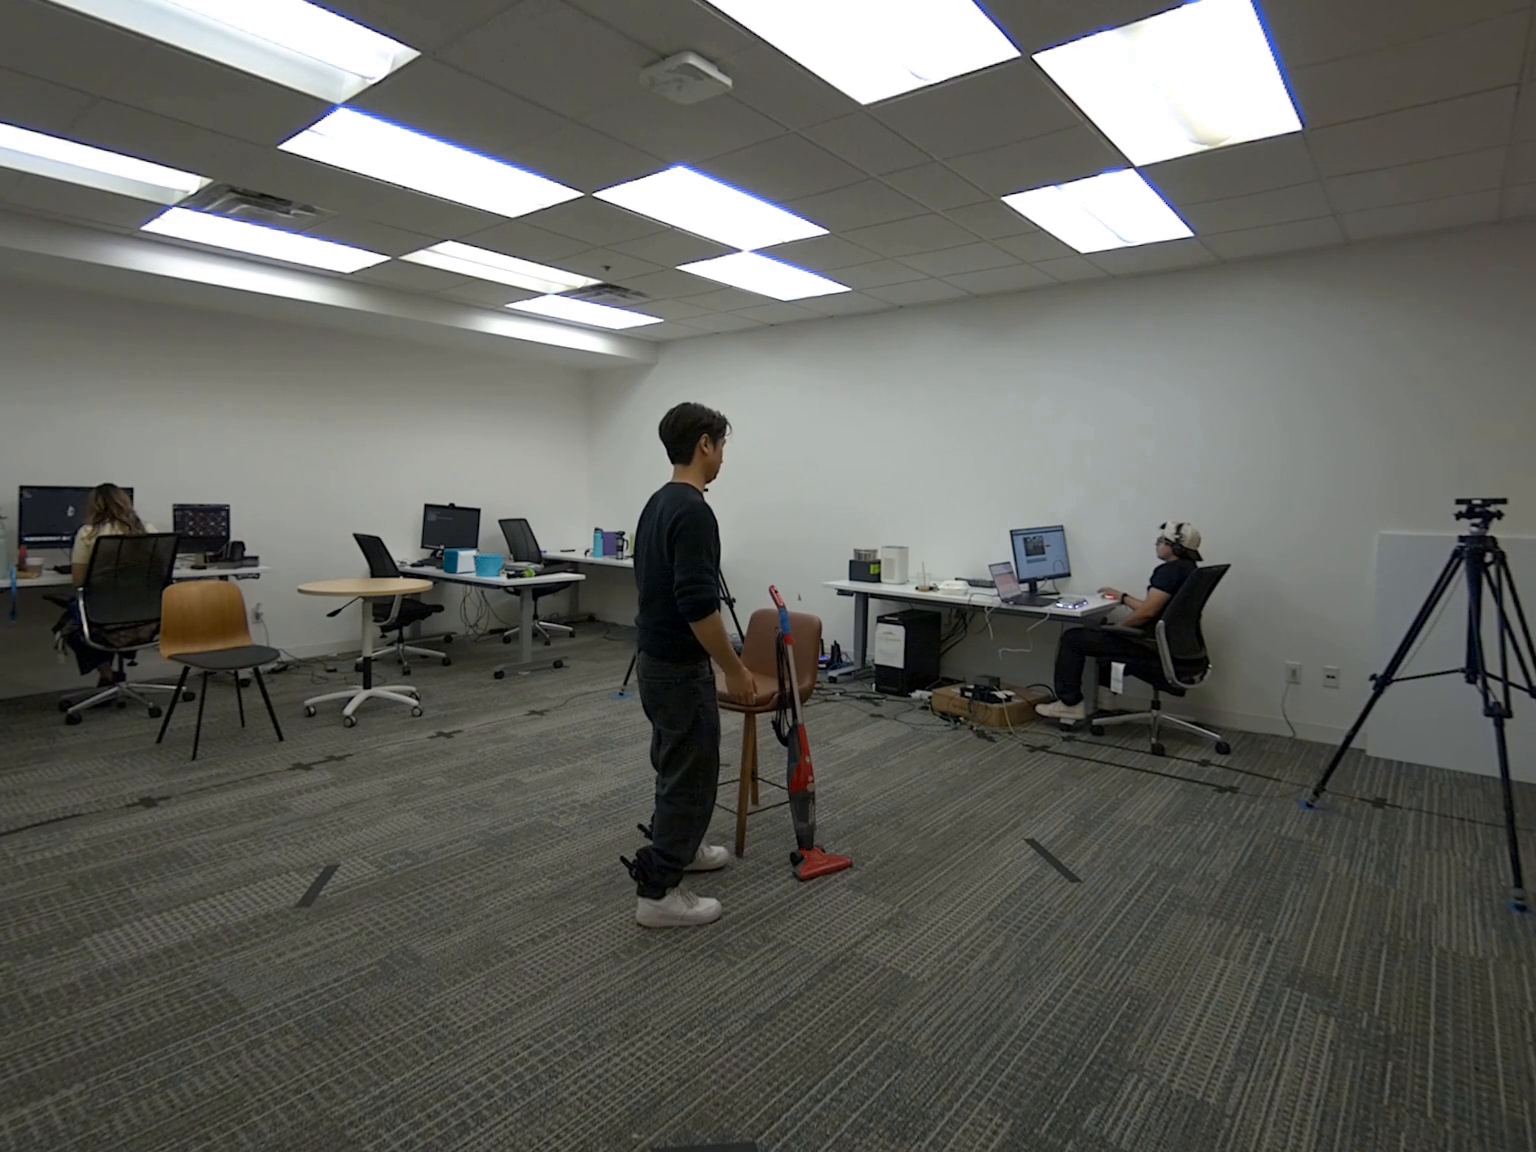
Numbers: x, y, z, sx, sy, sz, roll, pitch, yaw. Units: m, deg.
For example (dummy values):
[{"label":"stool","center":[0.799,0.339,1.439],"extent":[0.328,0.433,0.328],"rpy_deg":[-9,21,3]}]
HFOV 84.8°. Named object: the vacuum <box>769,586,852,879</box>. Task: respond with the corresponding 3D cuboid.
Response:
[{"label":"vacuum","center":[0.085,0.559,3.265],"extent":[0.245,1.062,0.147],"rpy_deg":[0,-13,-38]}]
